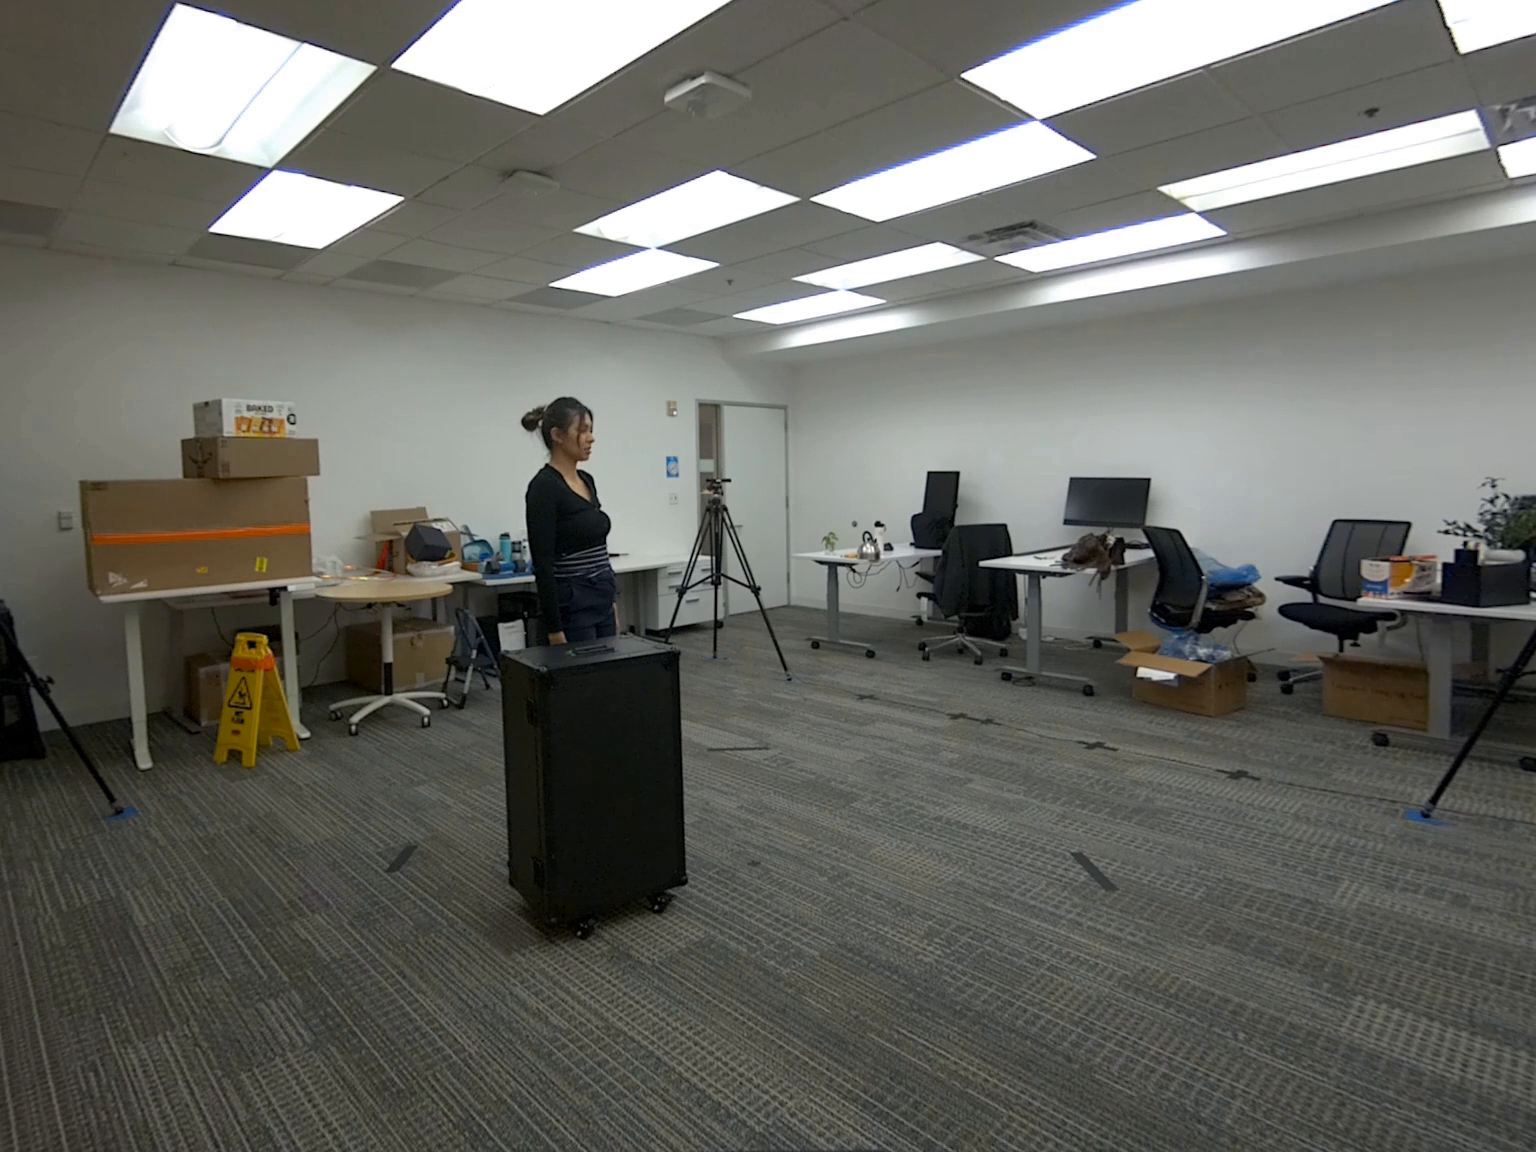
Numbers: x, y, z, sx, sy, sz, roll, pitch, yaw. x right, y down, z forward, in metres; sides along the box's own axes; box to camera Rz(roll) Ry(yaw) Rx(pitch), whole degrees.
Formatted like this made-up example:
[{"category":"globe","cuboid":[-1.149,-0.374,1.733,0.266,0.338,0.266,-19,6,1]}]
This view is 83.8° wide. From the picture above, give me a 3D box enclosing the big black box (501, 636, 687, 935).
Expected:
[{"category":"big black box","cuboid":[-0.579,0.663,2.800,0.508,0.859,0.407,-4,4,-34]}]
